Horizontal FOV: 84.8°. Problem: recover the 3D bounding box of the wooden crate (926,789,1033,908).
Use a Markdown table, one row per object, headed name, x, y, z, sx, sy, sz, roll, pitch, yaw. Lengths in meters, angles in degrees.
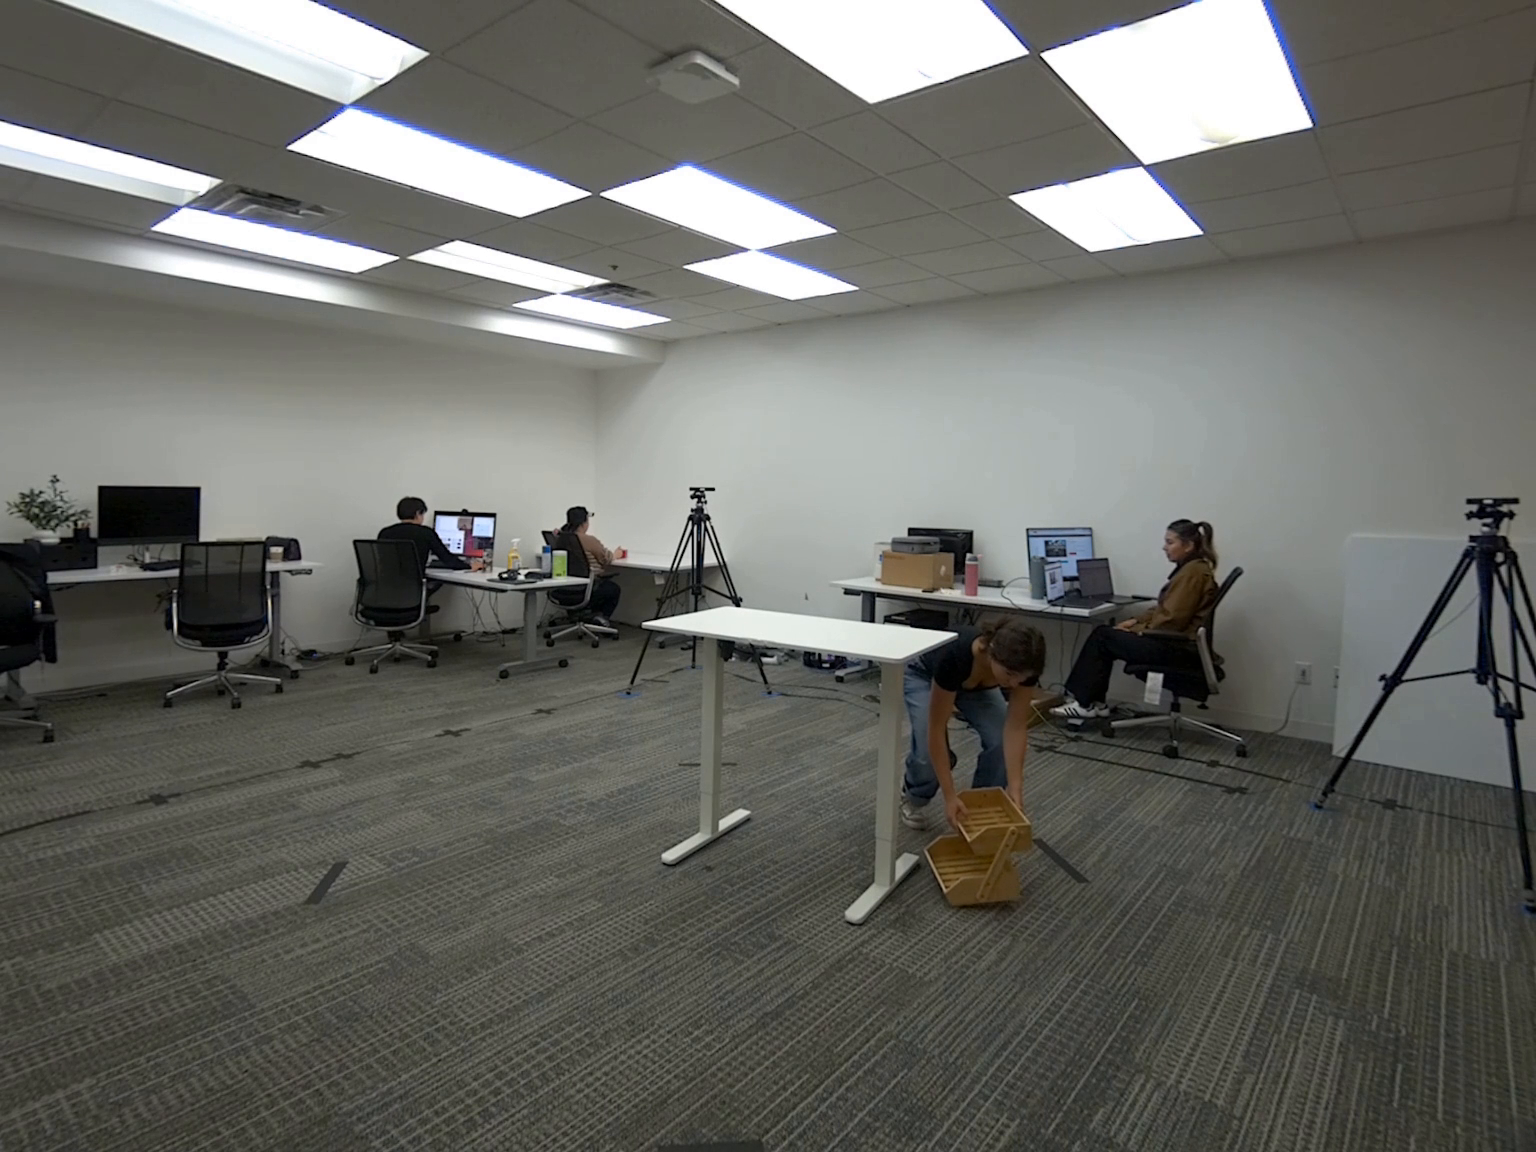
| name | x | y | z | sx | sy | sz | roll | pitch | yaw |
| --- | --- | --- | --- | --- | --- | --- | --- | --- | --- |
| wooden crate | 0.698 | 0.925 | 2.981 | 0.302 | 0.271 | 0.327 | -4 | 8 | -1 |
